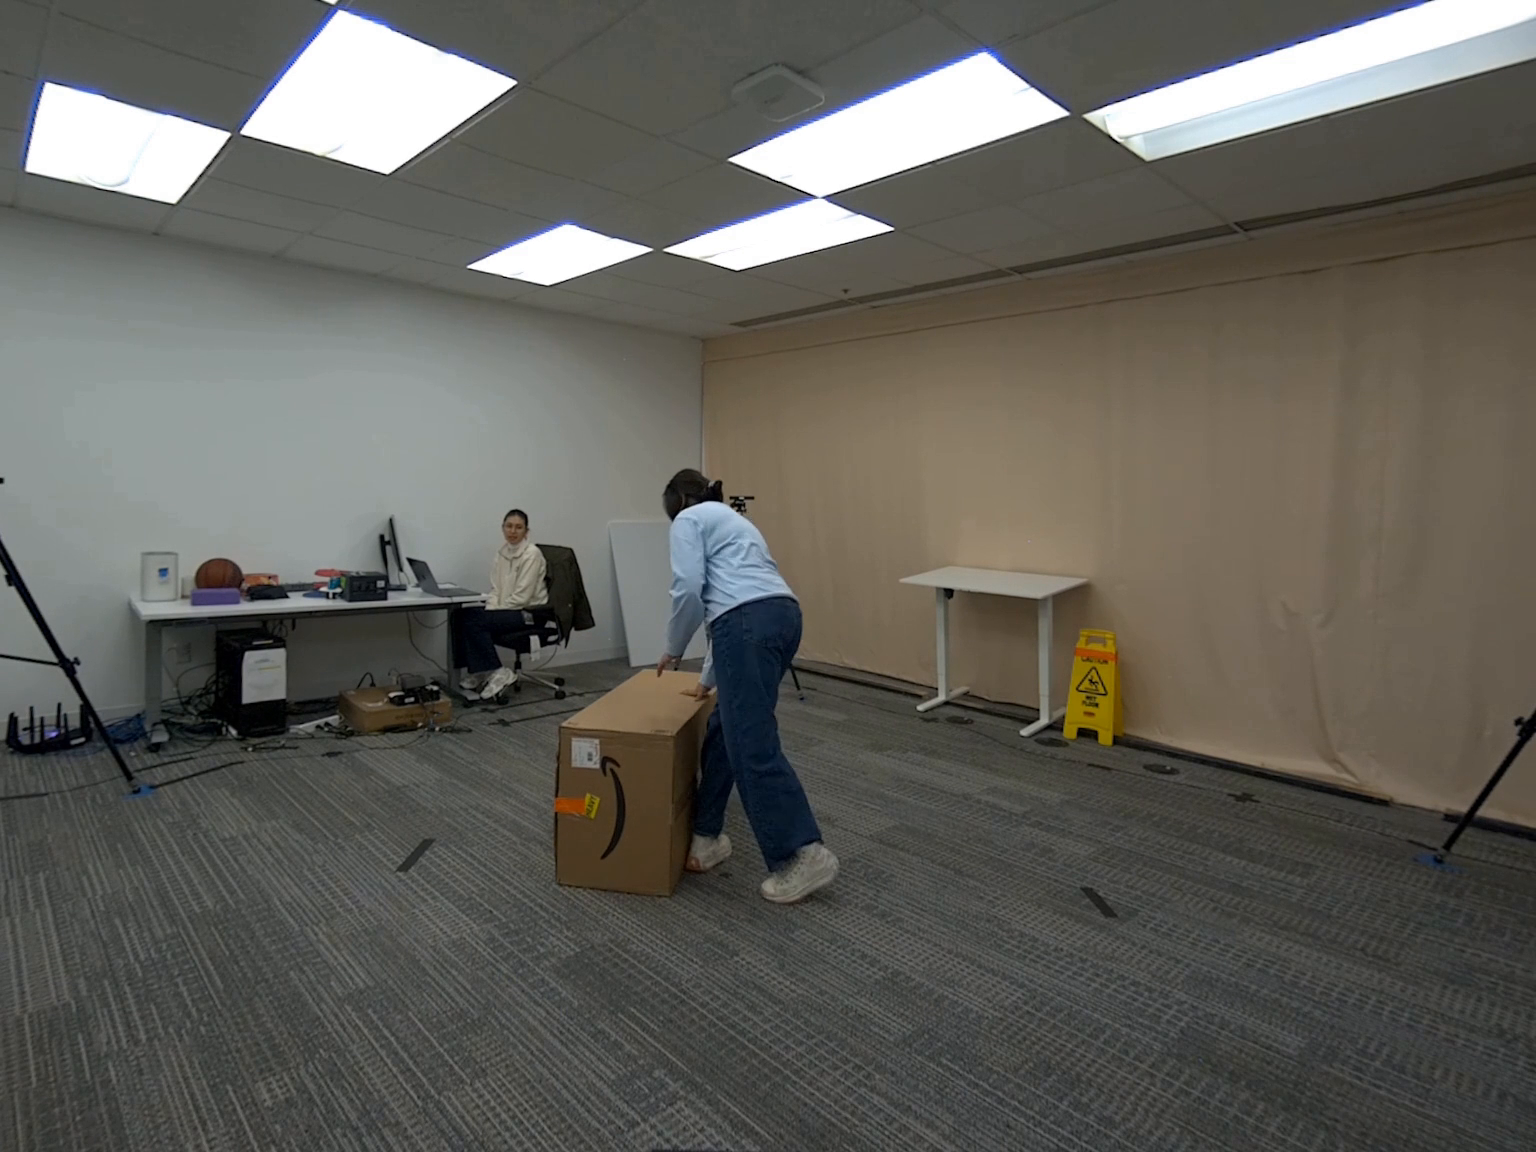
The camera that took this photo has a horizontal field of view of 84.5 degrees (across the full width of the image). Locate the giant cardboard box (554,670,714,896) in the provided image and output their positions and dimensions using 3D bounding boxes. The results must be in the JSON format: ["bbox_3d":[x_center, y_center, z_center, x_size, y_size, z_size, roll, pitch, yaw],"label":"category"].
[{"bbox_3d":[-0.477,0.775,3.451,0.430,0.576,1.020,2,5,9],"label":"giant cardboard box"}]
